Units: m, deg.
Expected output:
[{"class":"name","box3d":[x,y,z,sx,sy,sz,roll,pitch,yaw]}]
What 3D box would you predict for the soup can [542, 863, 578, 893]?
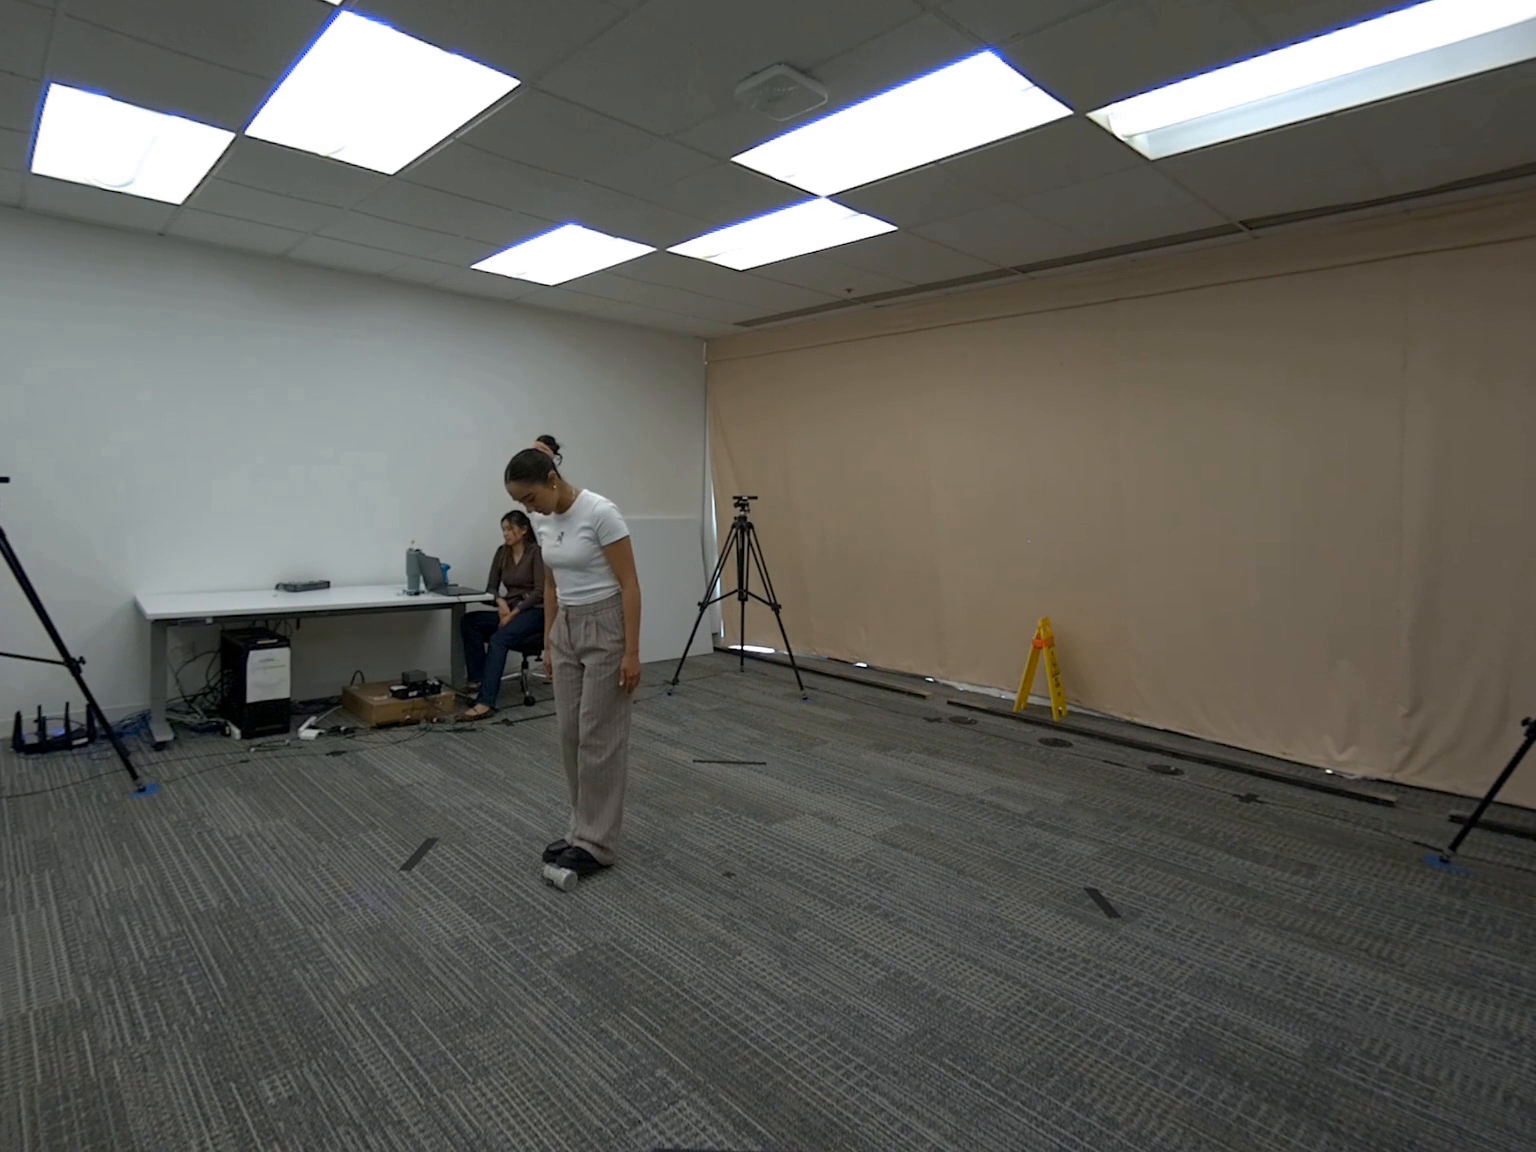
[{"class":"soup can","box3d":[-0.763,1.067,2.976,0.125,0.067,0.065,9,8,39]}]
